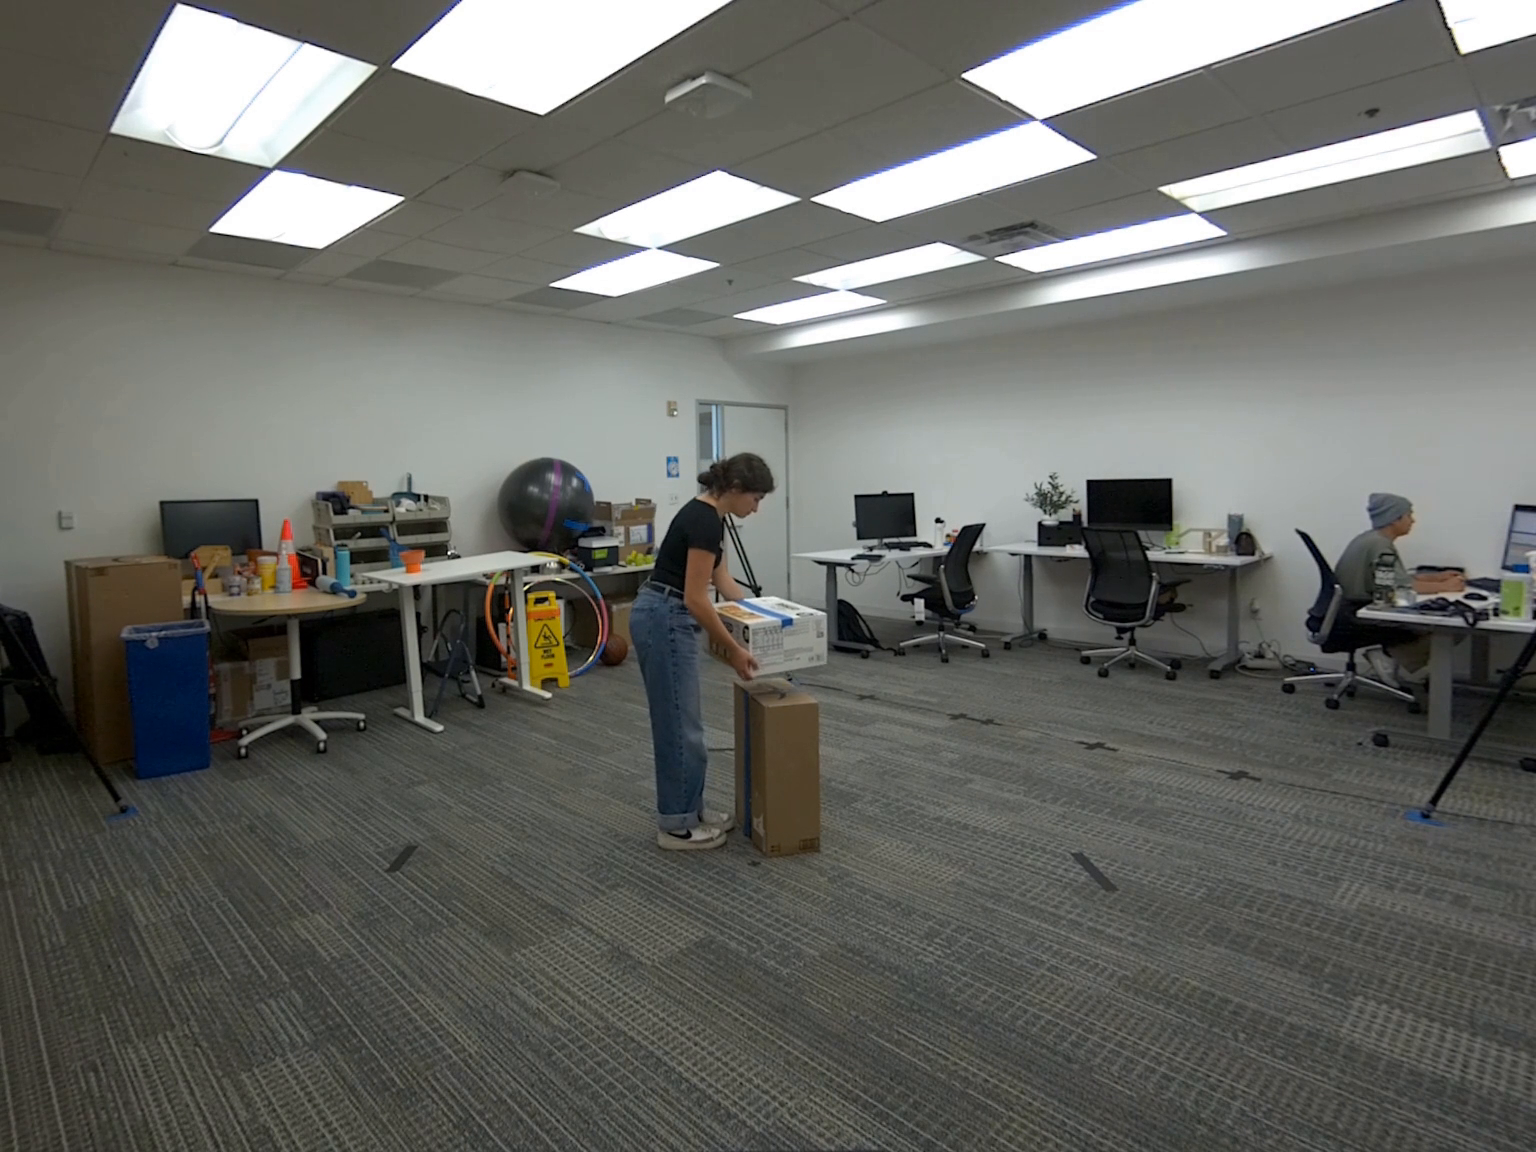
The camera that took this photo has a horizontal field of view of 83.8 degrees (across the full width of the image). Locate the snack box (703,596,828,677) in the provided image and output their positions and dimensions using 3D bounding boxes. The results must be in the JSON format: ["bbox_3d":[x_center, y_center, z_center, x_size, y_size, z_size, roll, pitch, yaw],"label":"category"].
[{"bbox_3d":[-0.023,0.229,3.370,0.333,0.204,0.417,-6,10,-28],"label":"snack box"}]
